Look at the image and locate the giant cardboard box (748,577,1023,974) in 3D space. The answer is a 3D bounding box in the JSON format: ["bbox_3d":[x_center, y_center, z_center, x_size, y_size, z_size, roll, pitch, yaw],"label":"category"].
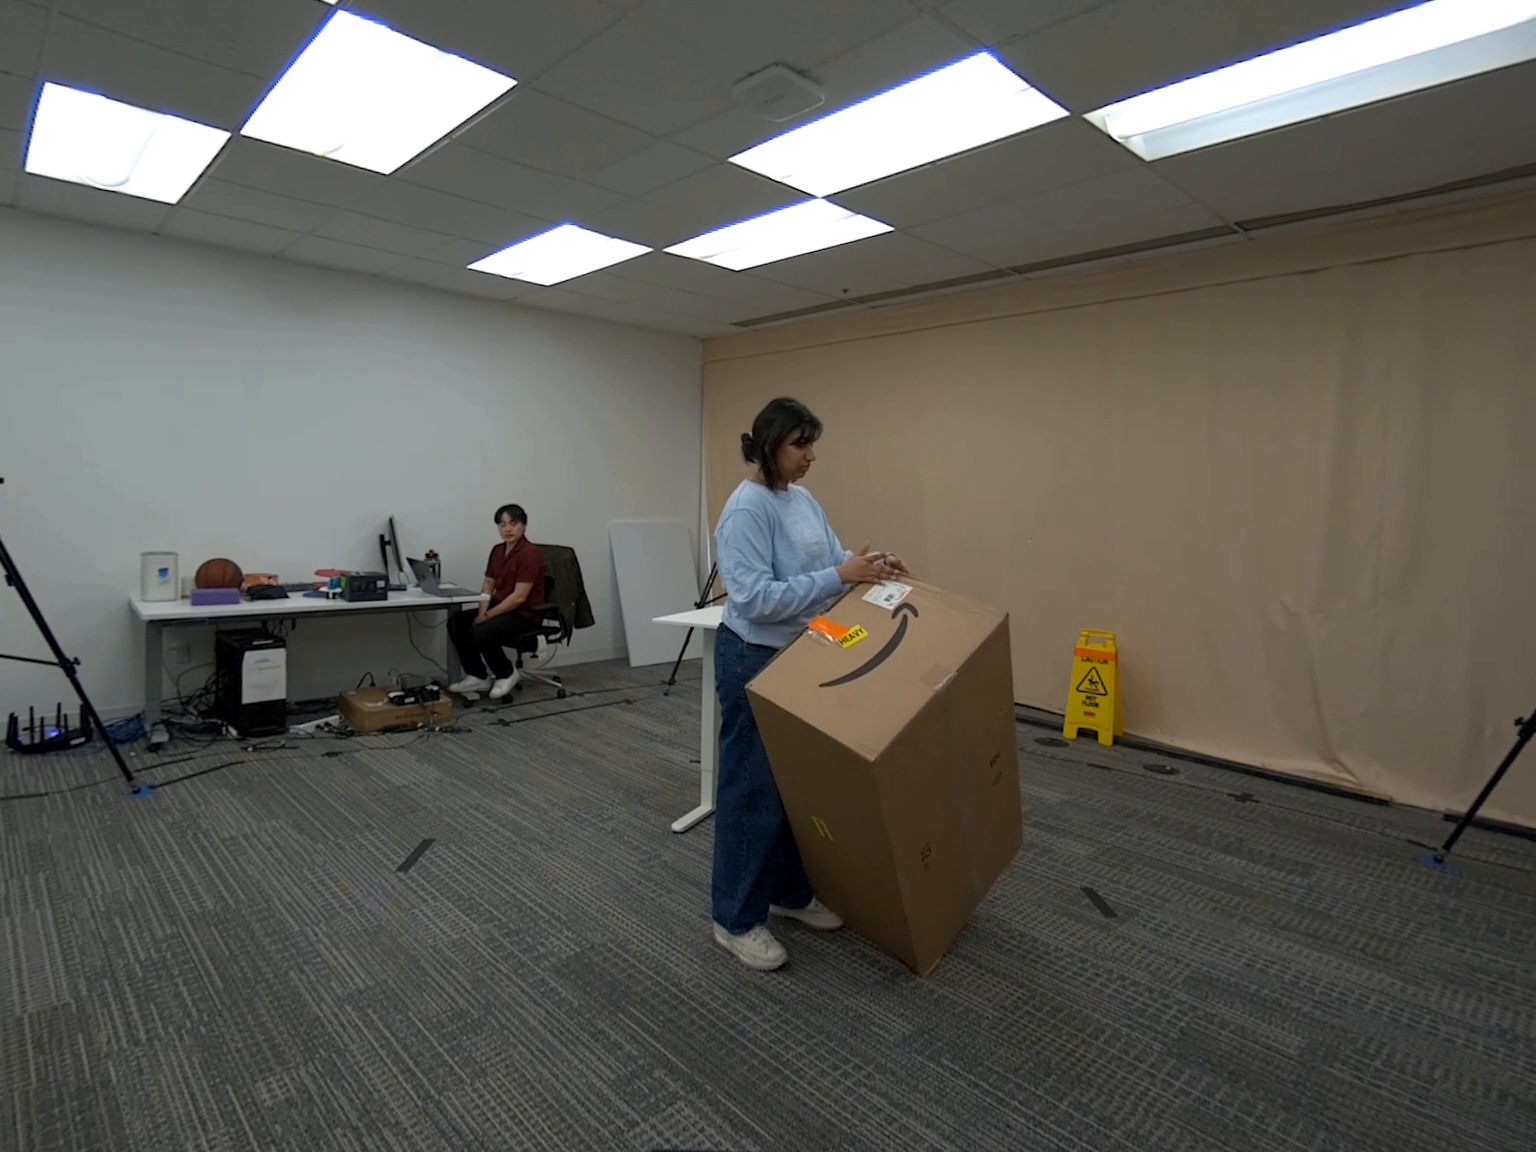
[{"bbox_3d":[0.385,0.581,2.450,0.439,0.999,0.575,22,51,40],"label":"giant cardboard box"}]
